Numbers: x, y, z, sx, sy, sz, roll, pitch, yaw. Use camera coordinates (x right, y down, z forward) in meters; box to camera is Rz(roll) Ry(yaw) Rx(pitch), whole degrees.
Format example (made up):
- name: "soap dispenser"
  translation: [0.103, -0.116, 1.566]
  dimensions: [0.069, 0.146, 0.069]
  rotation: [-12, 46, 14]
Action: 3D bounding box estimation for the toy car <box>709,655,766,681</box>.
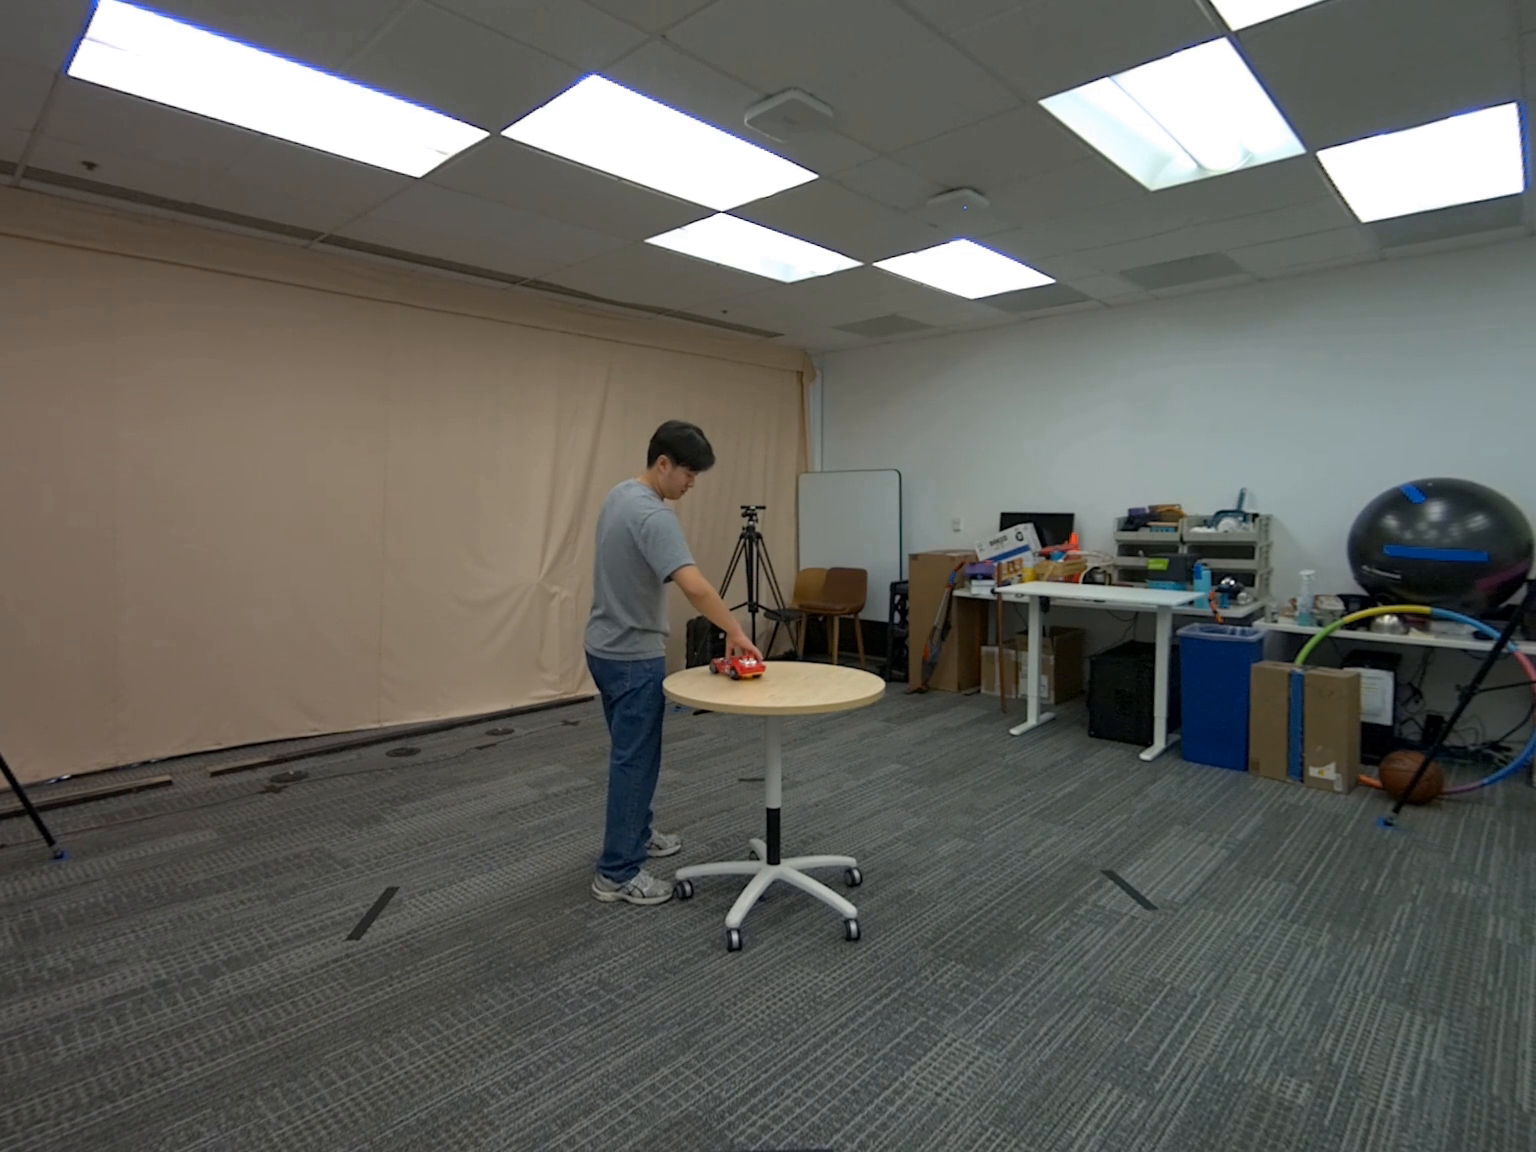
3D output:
- name: "toy car"
  translation: [-0.101, 0.330, 3.005]
  dimensions: [0.127, 0.083, 0.260]
  rotation: [-2, -7, -31]
